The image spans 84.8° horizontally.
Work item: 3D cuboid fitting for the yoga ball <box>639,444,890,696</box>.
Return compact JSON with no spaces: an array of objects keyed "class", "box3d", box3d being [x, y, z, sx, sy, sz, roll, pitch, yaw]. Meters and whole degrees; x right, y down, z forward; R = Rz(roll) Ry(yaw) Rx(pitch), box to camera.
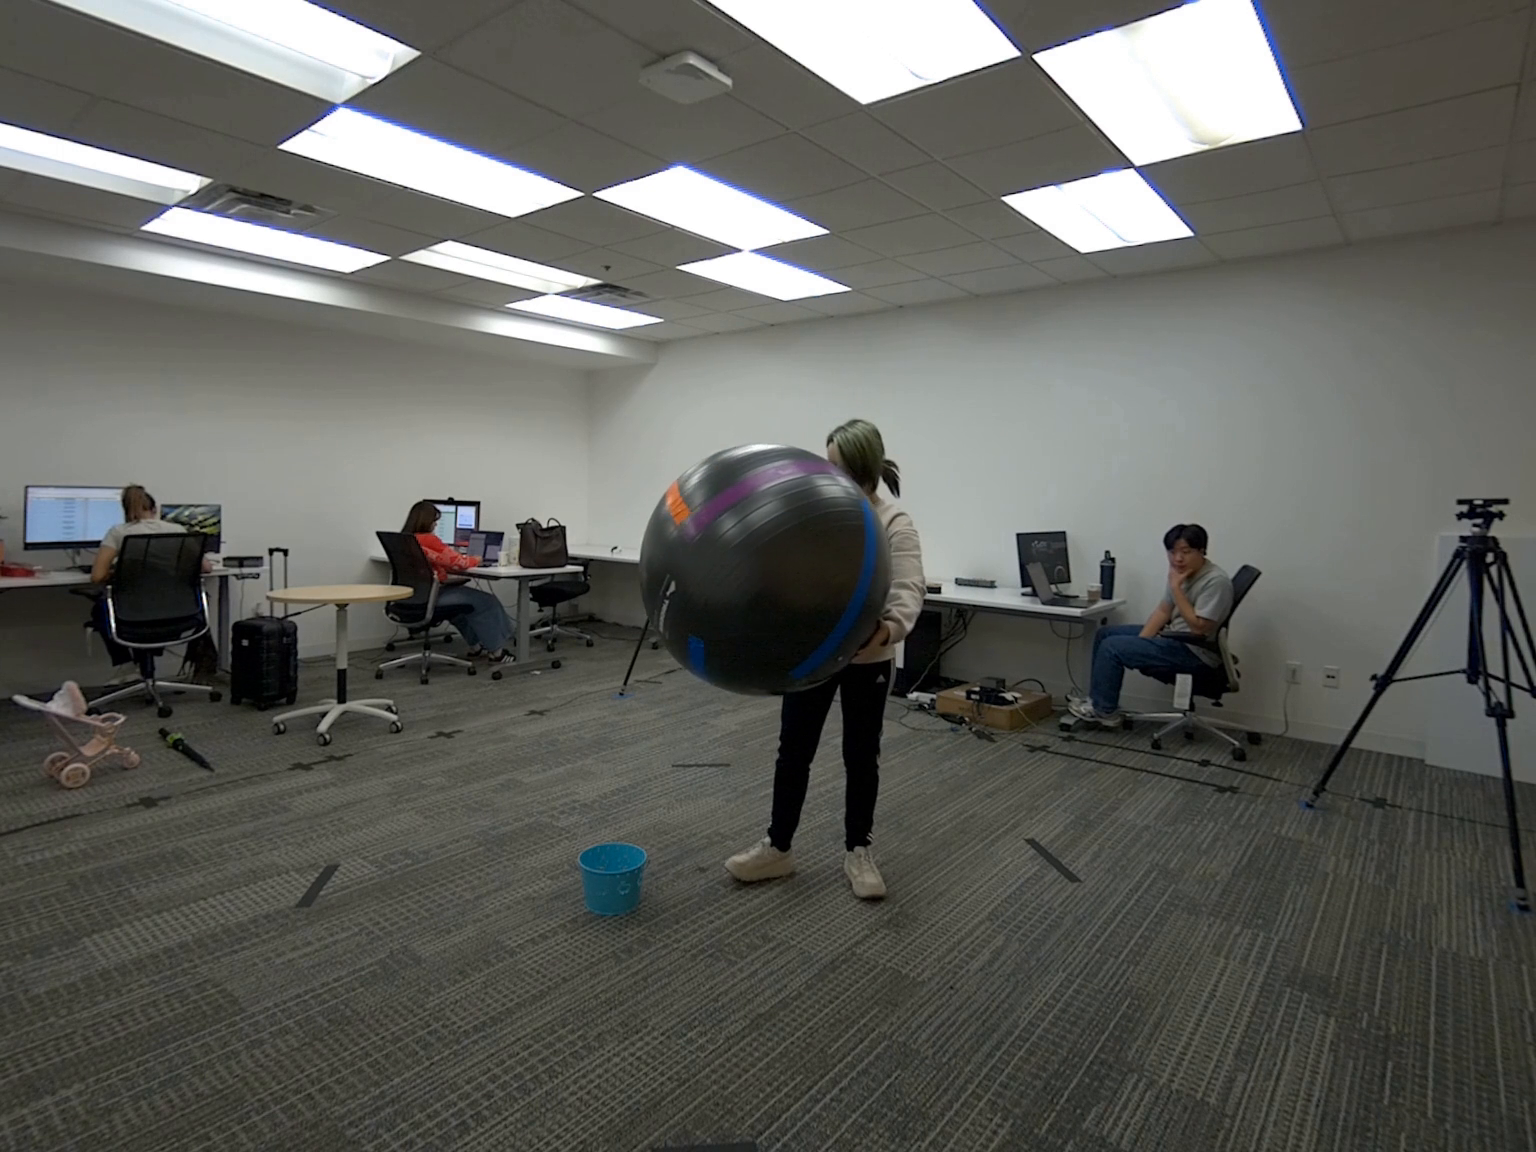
[{"class":"yoga ball","box3d":[-0.016,-0.018,2.560,0.757,0.756,0.761,1,4,-2]}]
